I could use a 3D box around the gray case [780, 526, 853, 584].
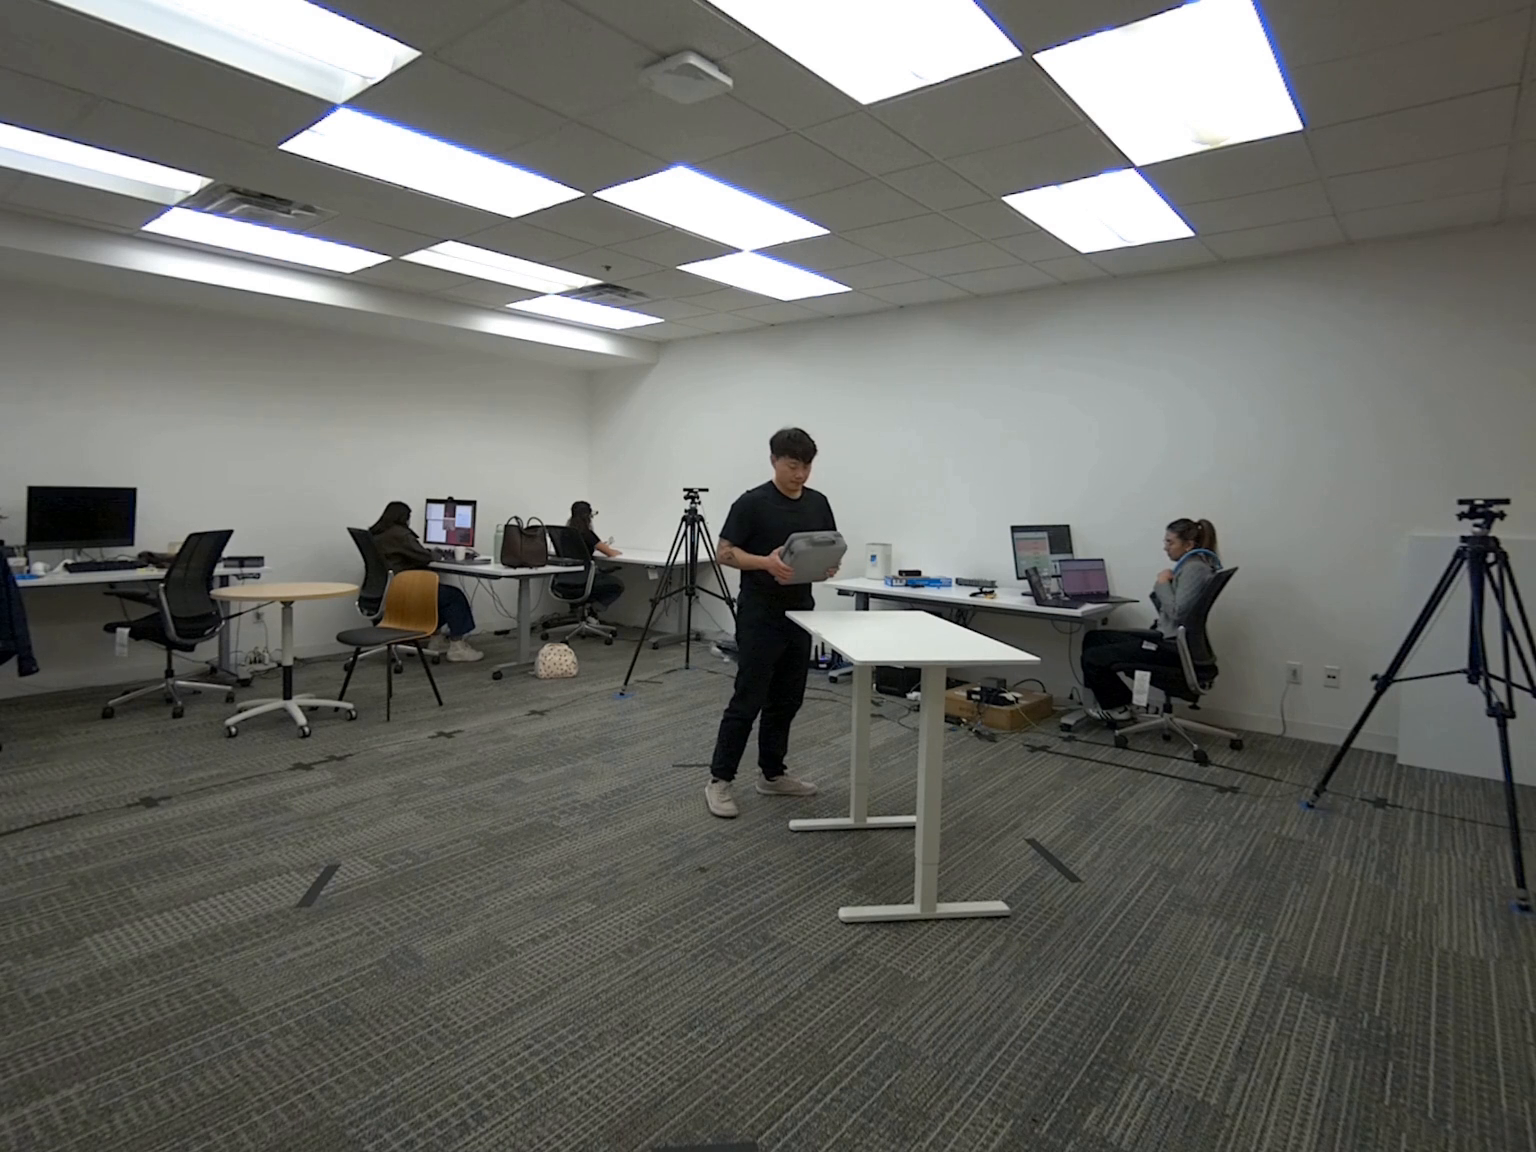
[{"bbox_3d":[0.176,-0.086,3.595,0.251,0.108,0.258,-4,-34,-27],"label":"gray case"}]
